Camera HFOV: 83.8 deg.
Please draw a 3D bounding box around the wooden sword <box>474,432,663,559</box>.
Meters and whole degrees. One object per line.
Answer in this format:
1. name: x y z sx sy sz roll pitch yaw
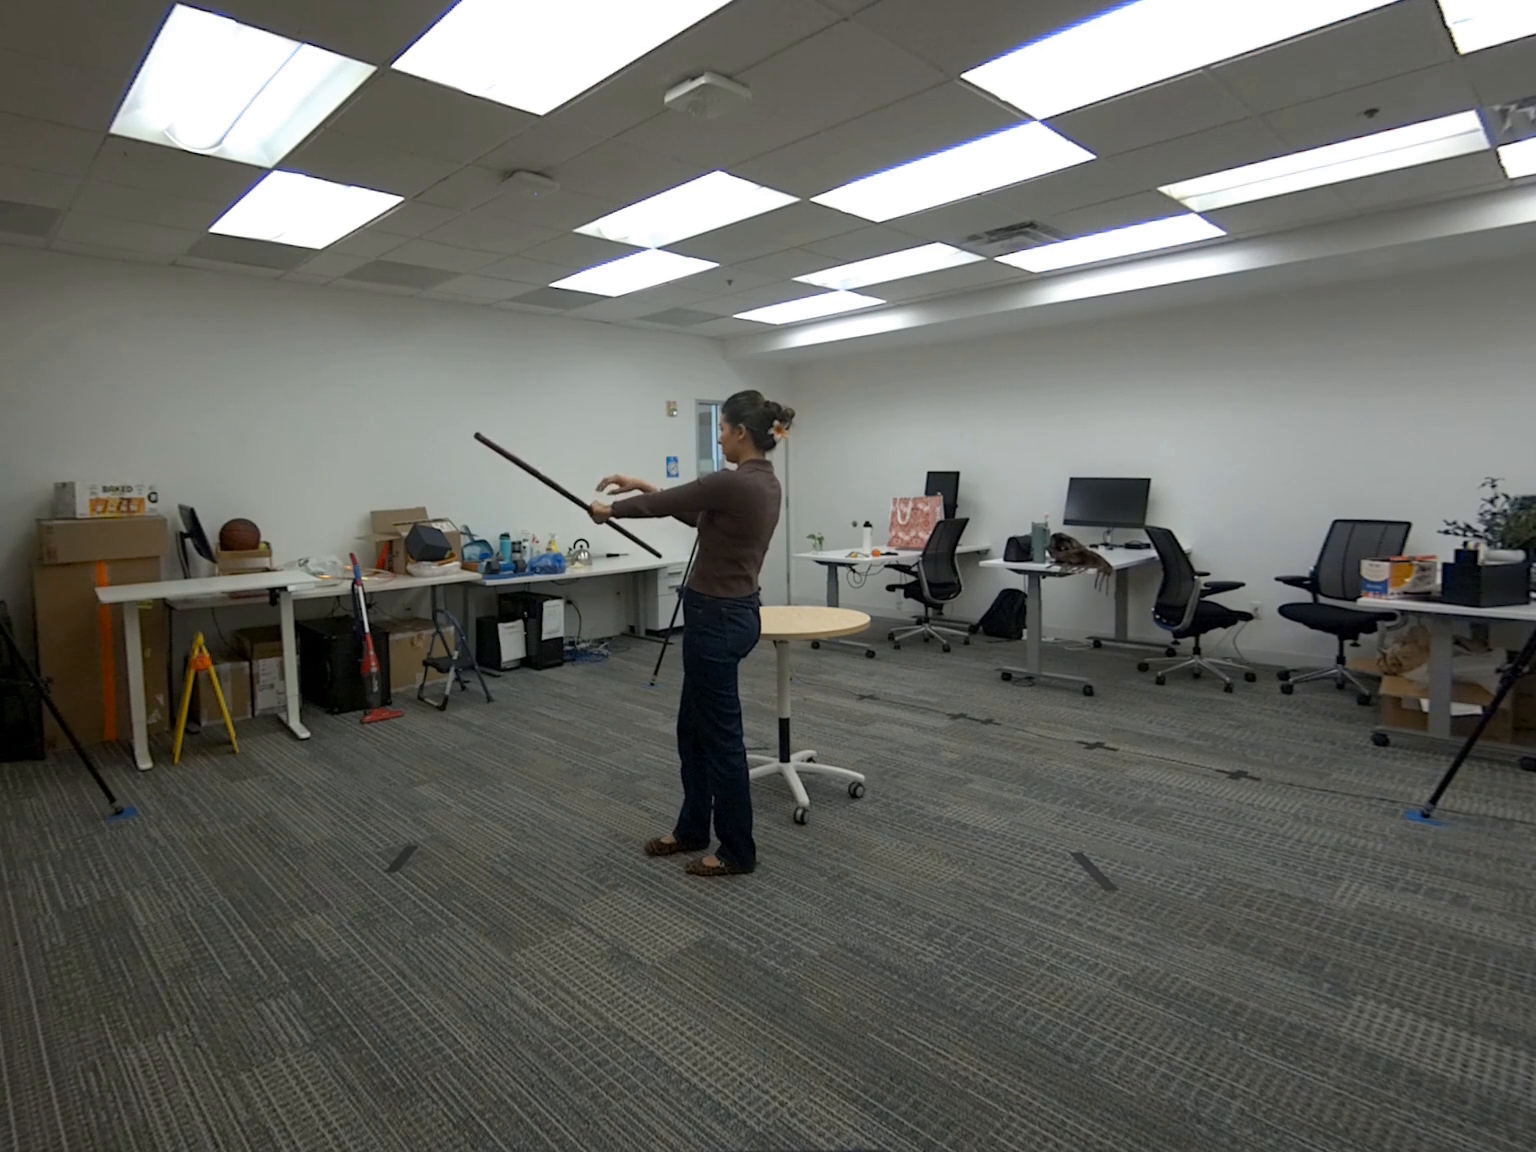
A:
1. wooden sword: -0.671 -0.257 3.104 0.053 0.024 0.985 46 6 40
